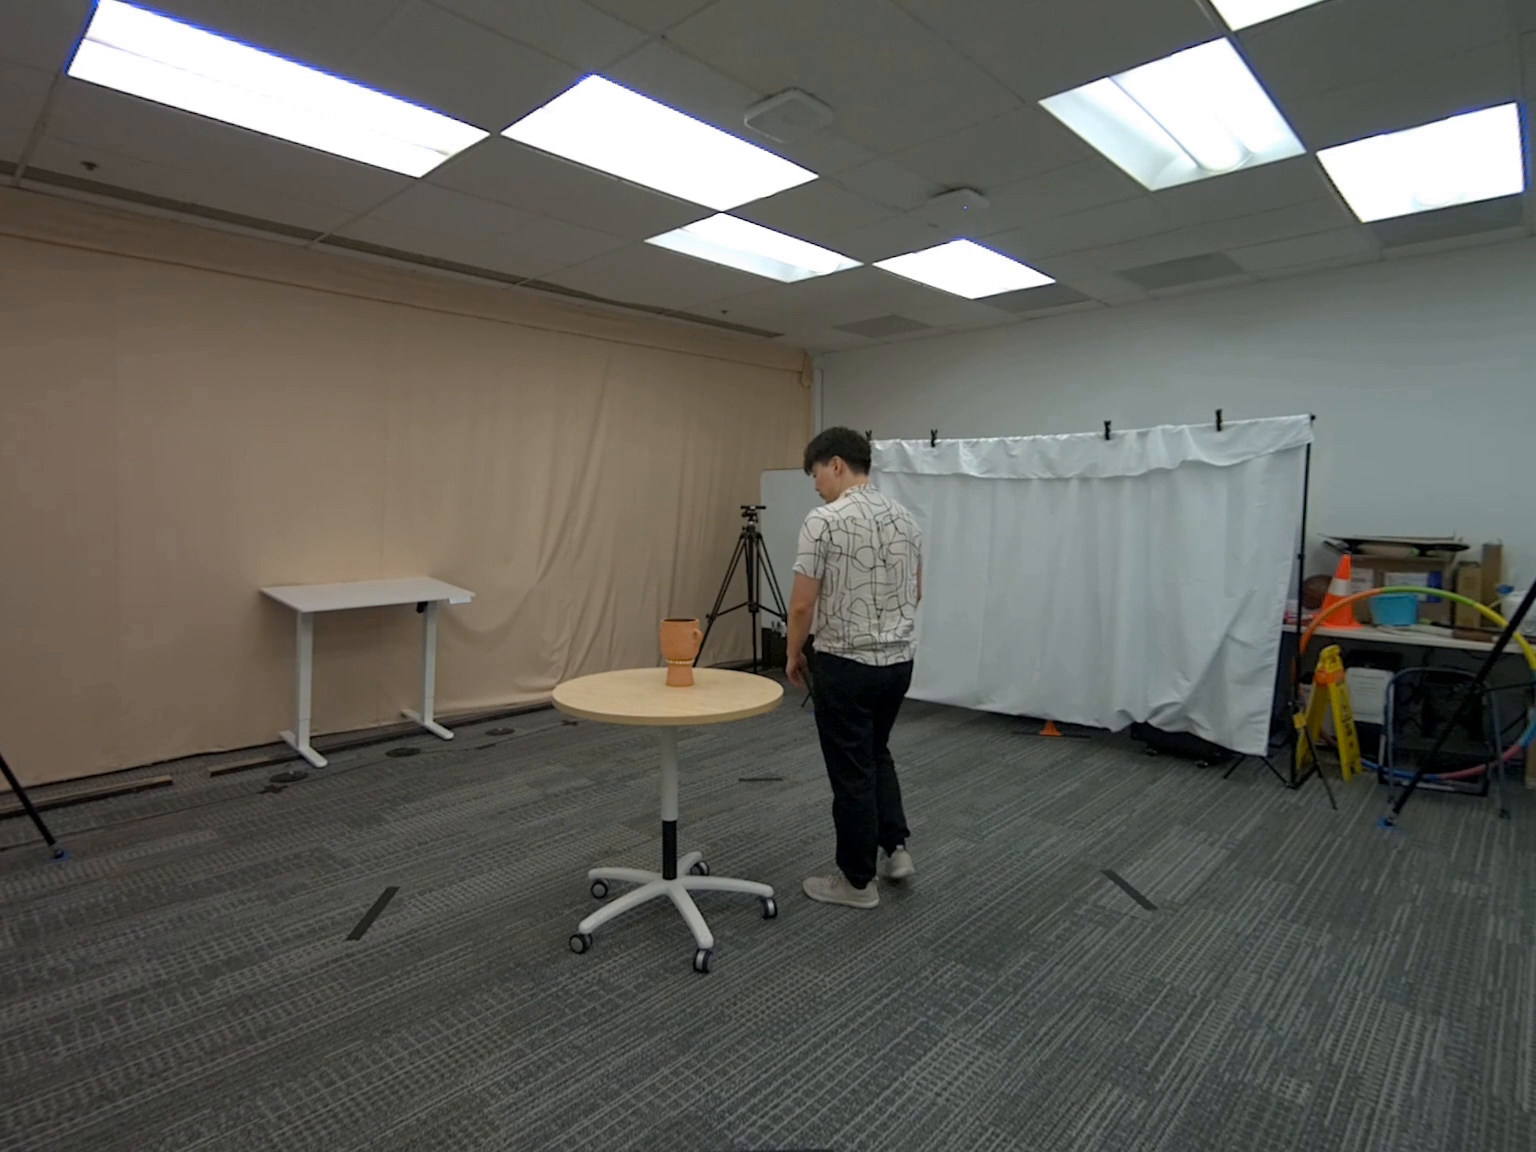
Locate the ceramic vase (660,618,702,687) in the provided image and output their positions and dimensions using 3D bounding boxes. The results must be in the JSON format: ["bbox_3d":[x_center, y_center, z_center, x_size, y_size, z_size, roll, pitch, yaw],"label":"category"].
[{"bbox_3d":[-0.300,0.267,2.891,0.133,0.219,0.161,0,2,-14],"label":"ceramic vase"}]
